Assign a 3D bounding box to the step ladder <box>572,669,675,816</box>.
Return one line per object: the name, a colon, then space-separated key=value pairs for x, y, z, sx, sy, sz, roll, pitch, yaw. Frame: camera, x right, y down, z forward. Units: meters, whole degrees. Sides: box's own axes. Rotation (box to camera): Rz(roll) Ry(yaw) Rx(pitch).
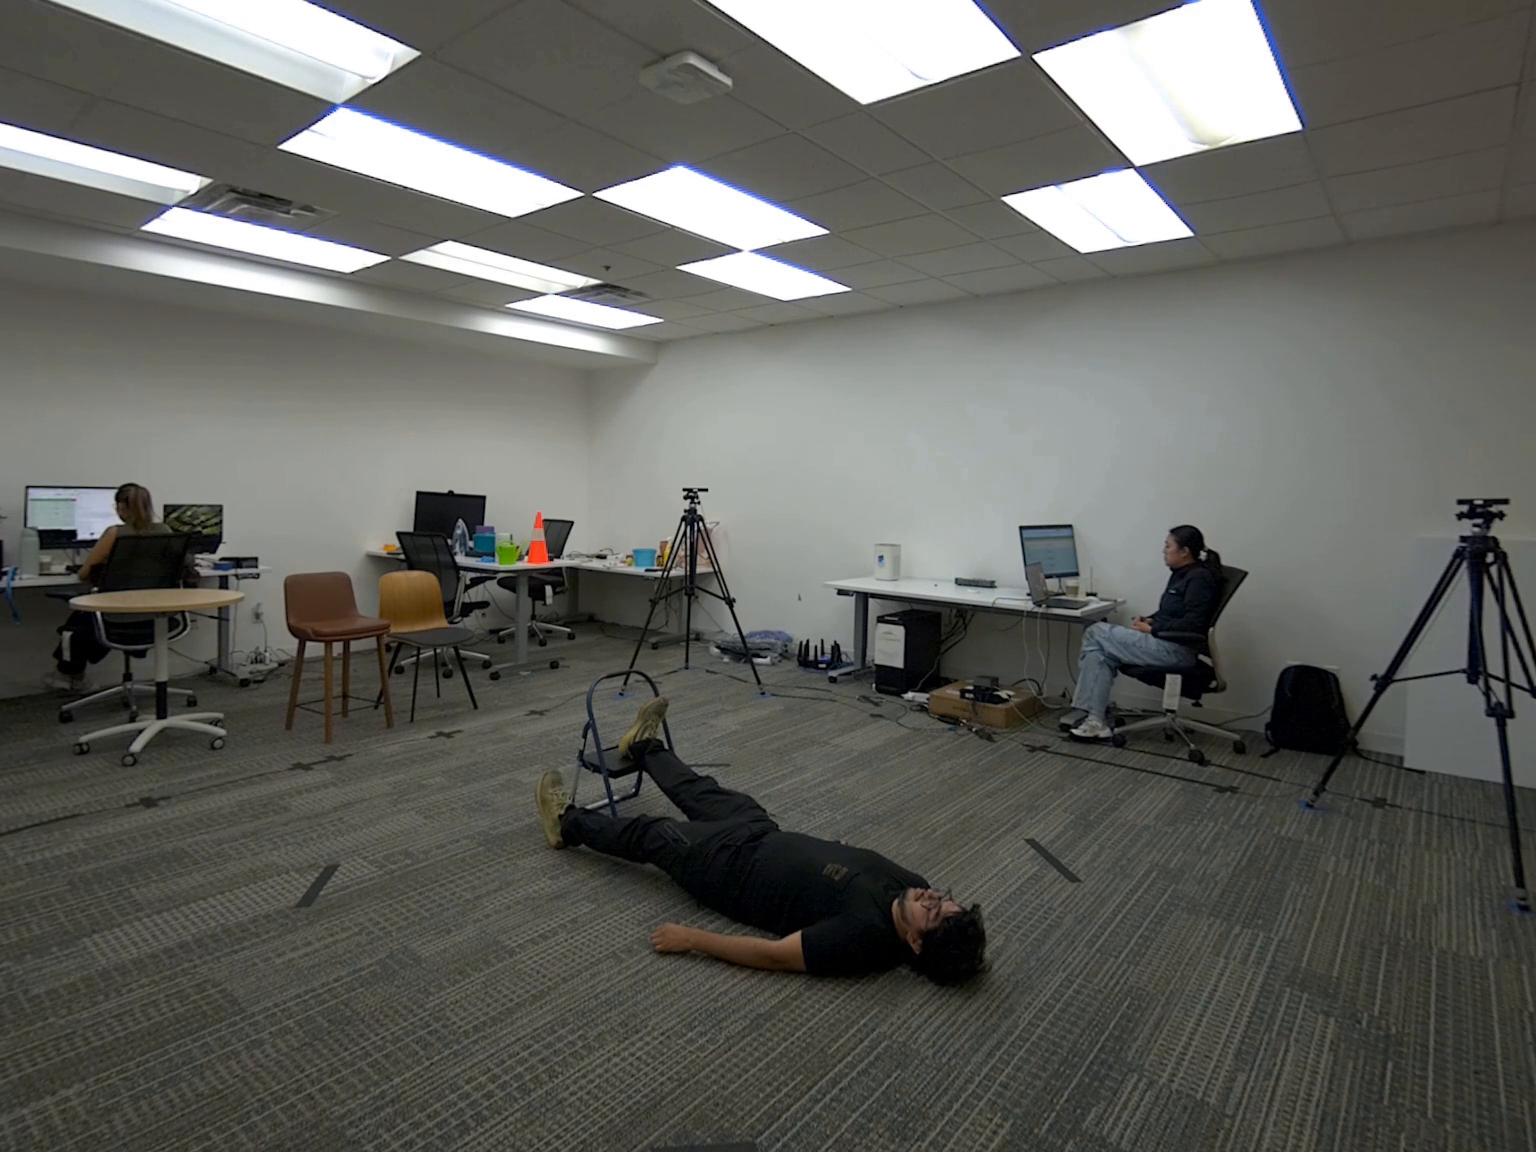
step ladder: x=-0.598 y=0.712 z=3.600 sx=0.360 sy=0.605 sz=0.418 roll=2 pitch=3 yaw=38
